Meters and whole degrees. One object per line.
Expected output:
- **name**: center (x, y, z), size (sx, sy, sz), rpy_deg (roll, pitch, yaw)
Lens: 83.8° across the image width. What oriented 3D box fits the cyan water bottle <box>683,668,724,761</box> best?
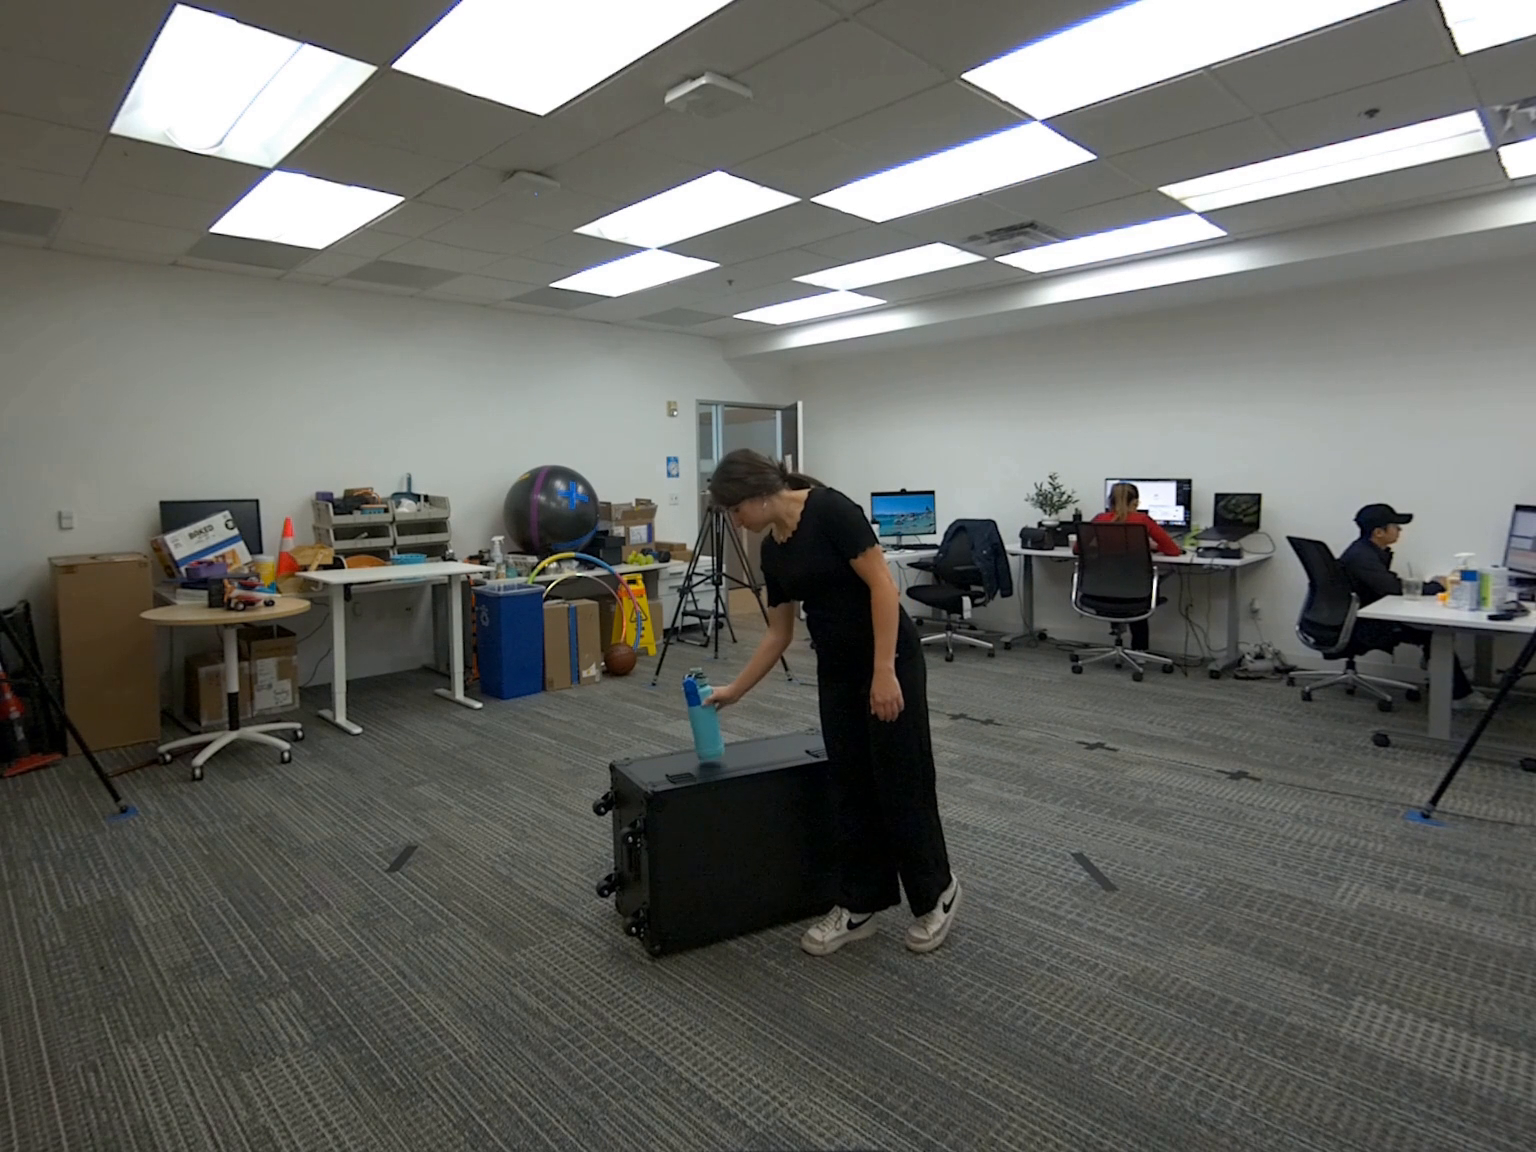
- **cyan water bottle**: center (-0.208, 0.437, 2.737), size (0.092, 0.283, 0.092), rpy_deg (-12, 2, -1)
